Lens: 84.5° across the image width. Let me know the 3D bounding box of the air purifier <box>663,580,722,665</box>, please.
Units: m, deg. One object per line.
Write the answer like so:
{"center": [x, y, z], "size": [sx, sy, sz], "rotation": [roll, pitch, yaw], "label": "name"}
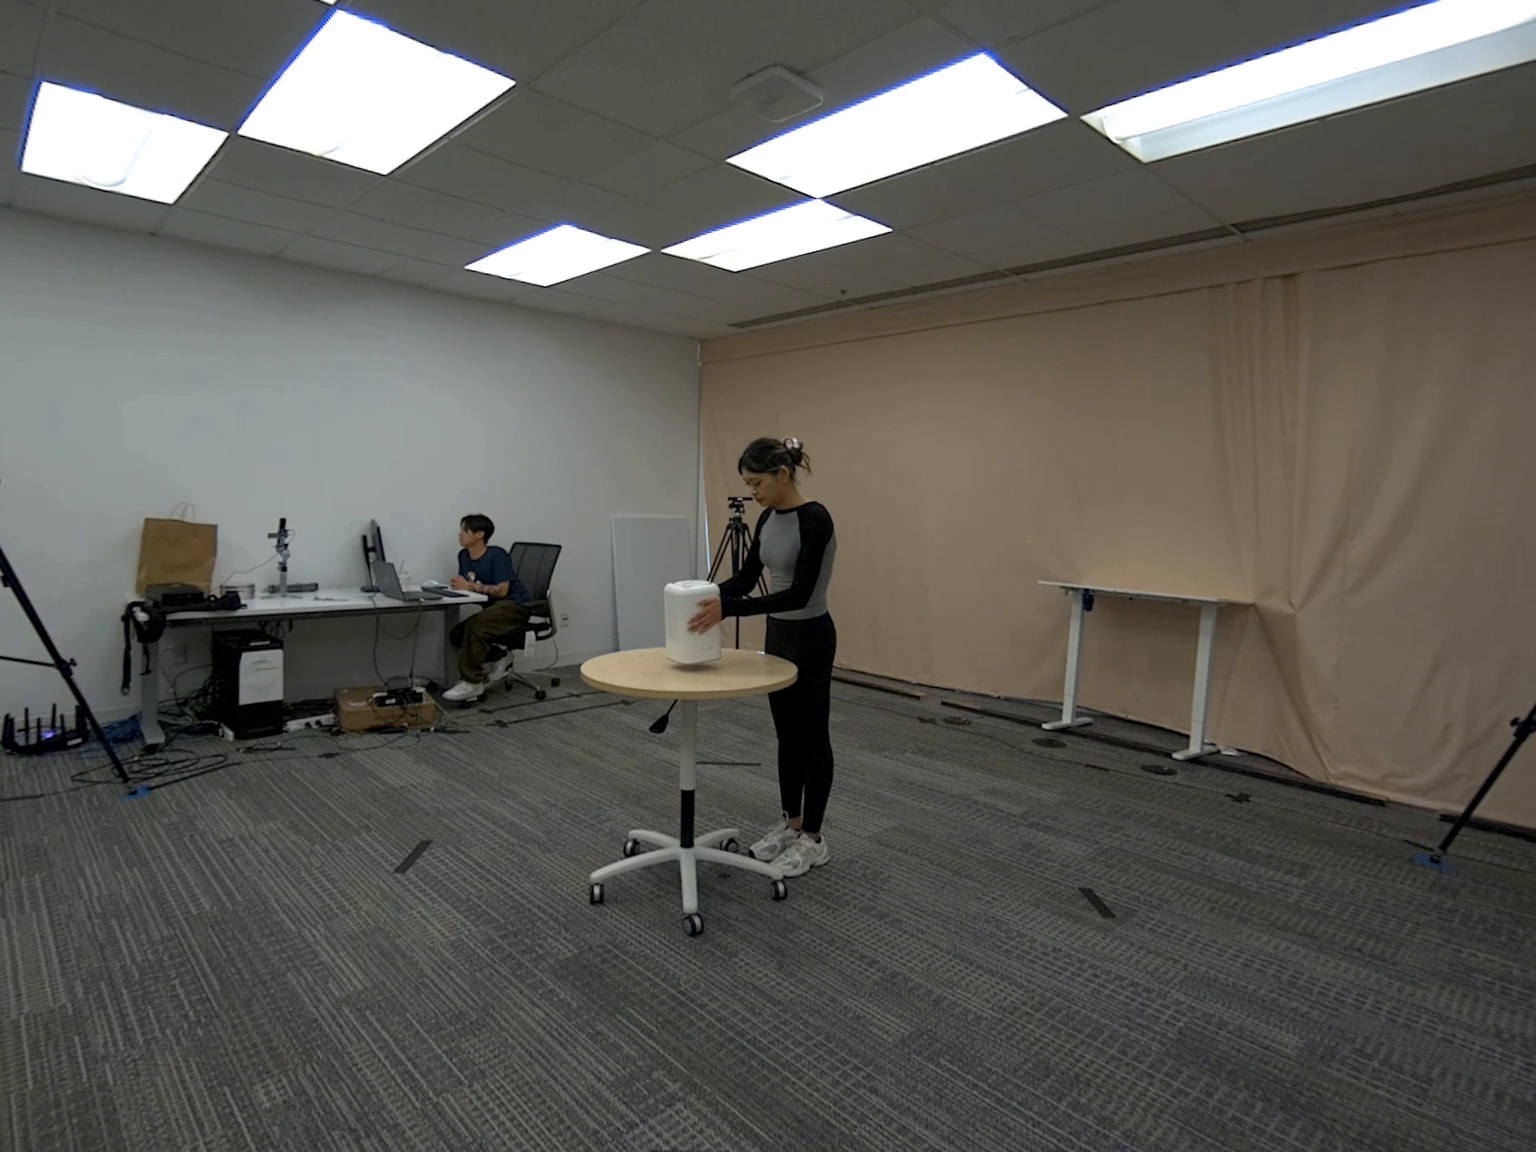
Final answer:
{"center": [-0.268, 0.156, 2.946], "size": [0.167, 0.264, 0.176], "rotation": [-5, 10, -37], "label": "air purifier"}
